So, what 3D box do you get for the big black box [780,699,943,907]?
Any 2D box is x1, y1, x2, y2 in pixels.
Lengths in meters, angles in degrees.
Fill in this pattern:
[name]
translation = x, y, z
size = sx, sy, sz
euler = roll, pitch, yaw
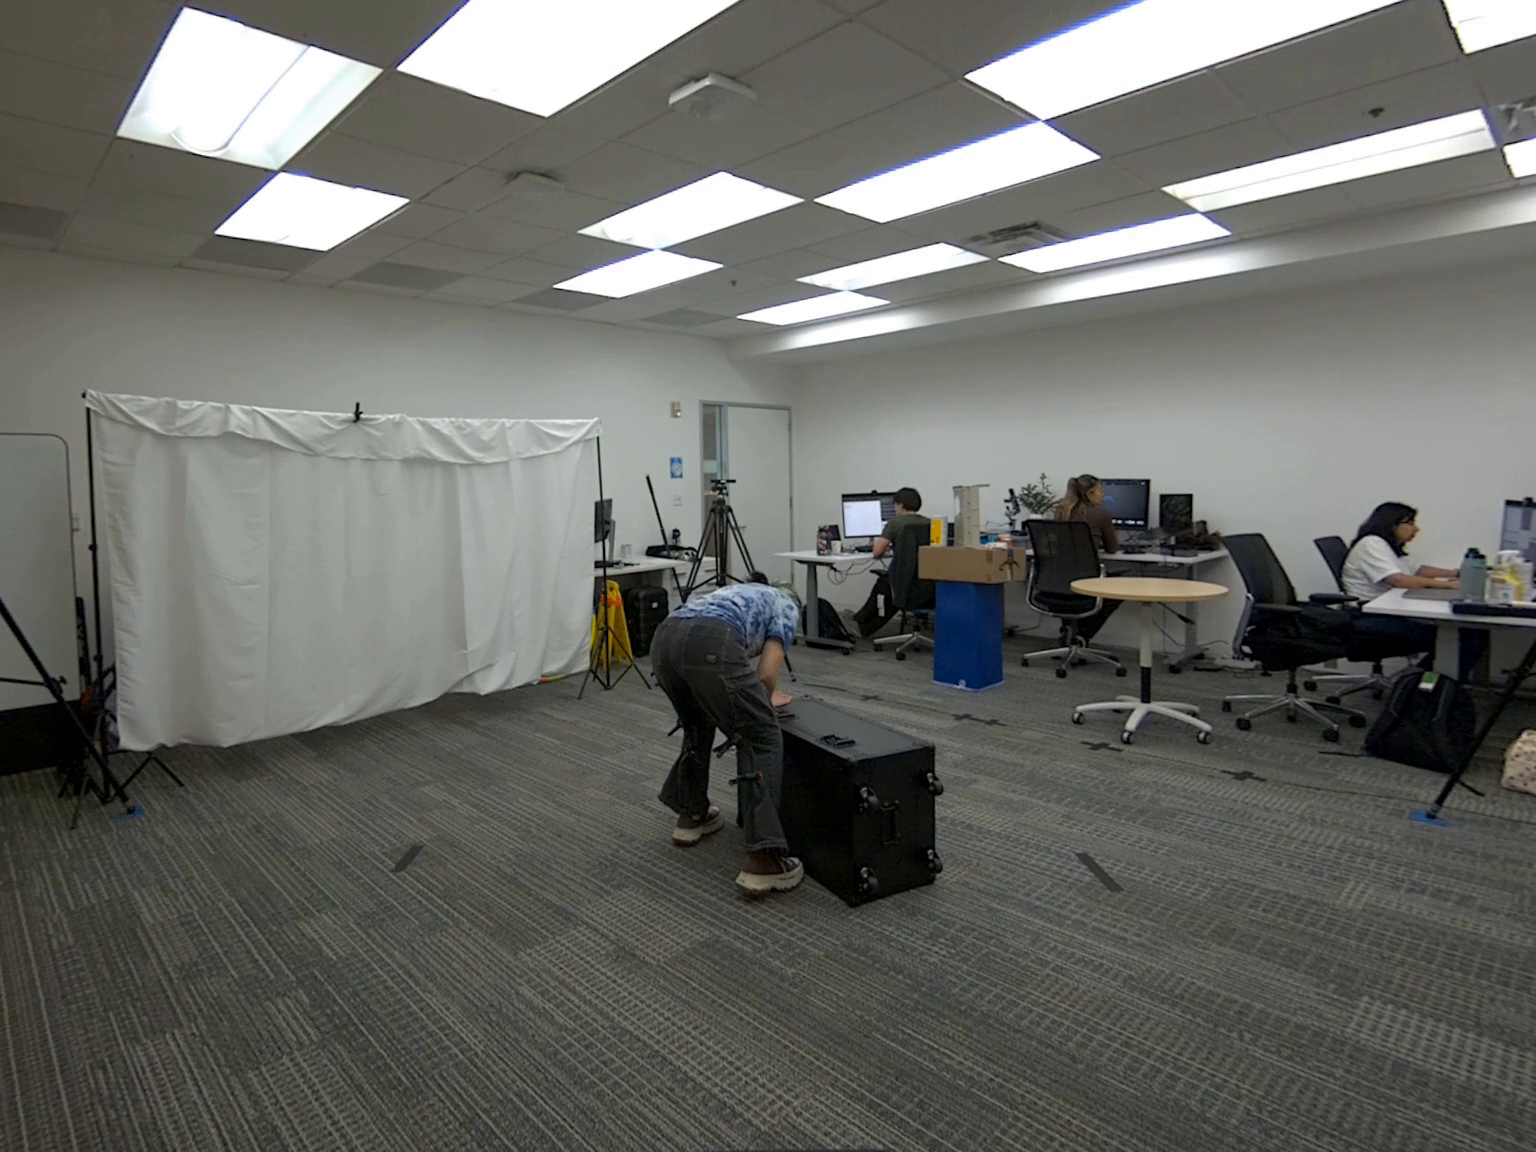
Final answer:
[big black box]
translation = 0.256, 0.788, 3.158
size = 0.387, 0.519, 0.885
euler = -3, 6, -28
